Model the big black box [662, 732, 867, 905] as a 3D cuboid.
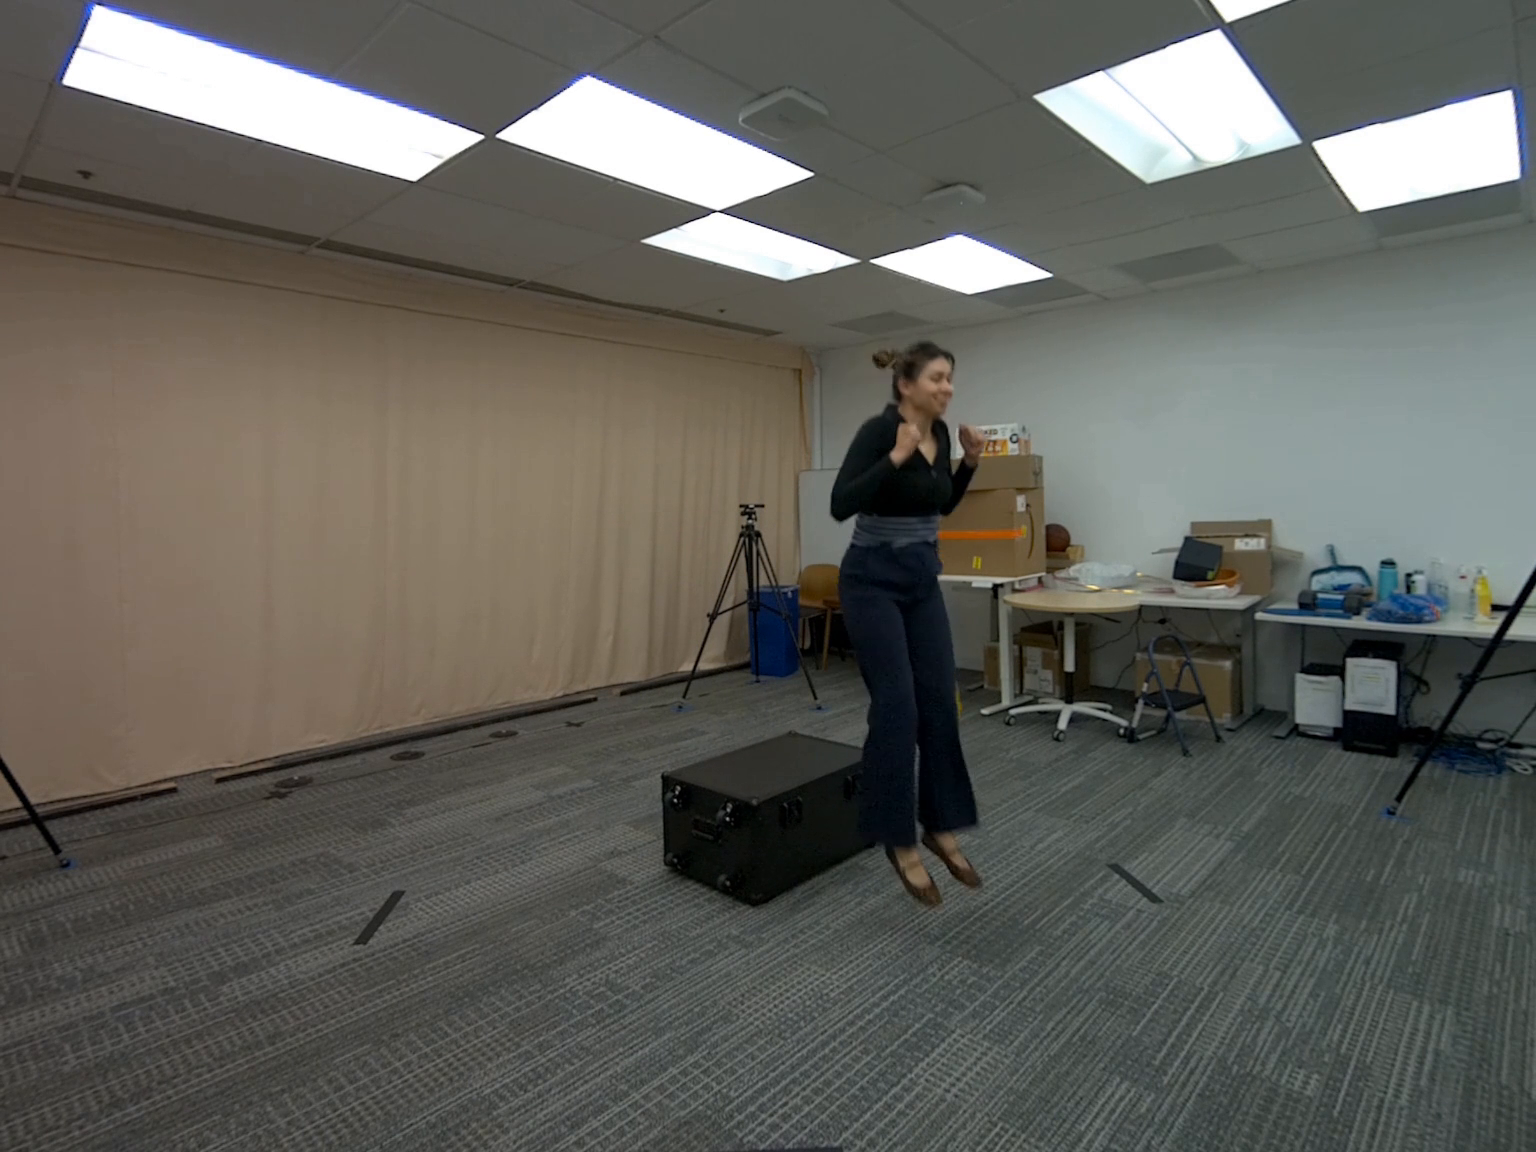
[{"bbox_3d":[0.058,0.916,3.334,0.539,0.395,0.836,4,7,43],"label":"big black box"}]
